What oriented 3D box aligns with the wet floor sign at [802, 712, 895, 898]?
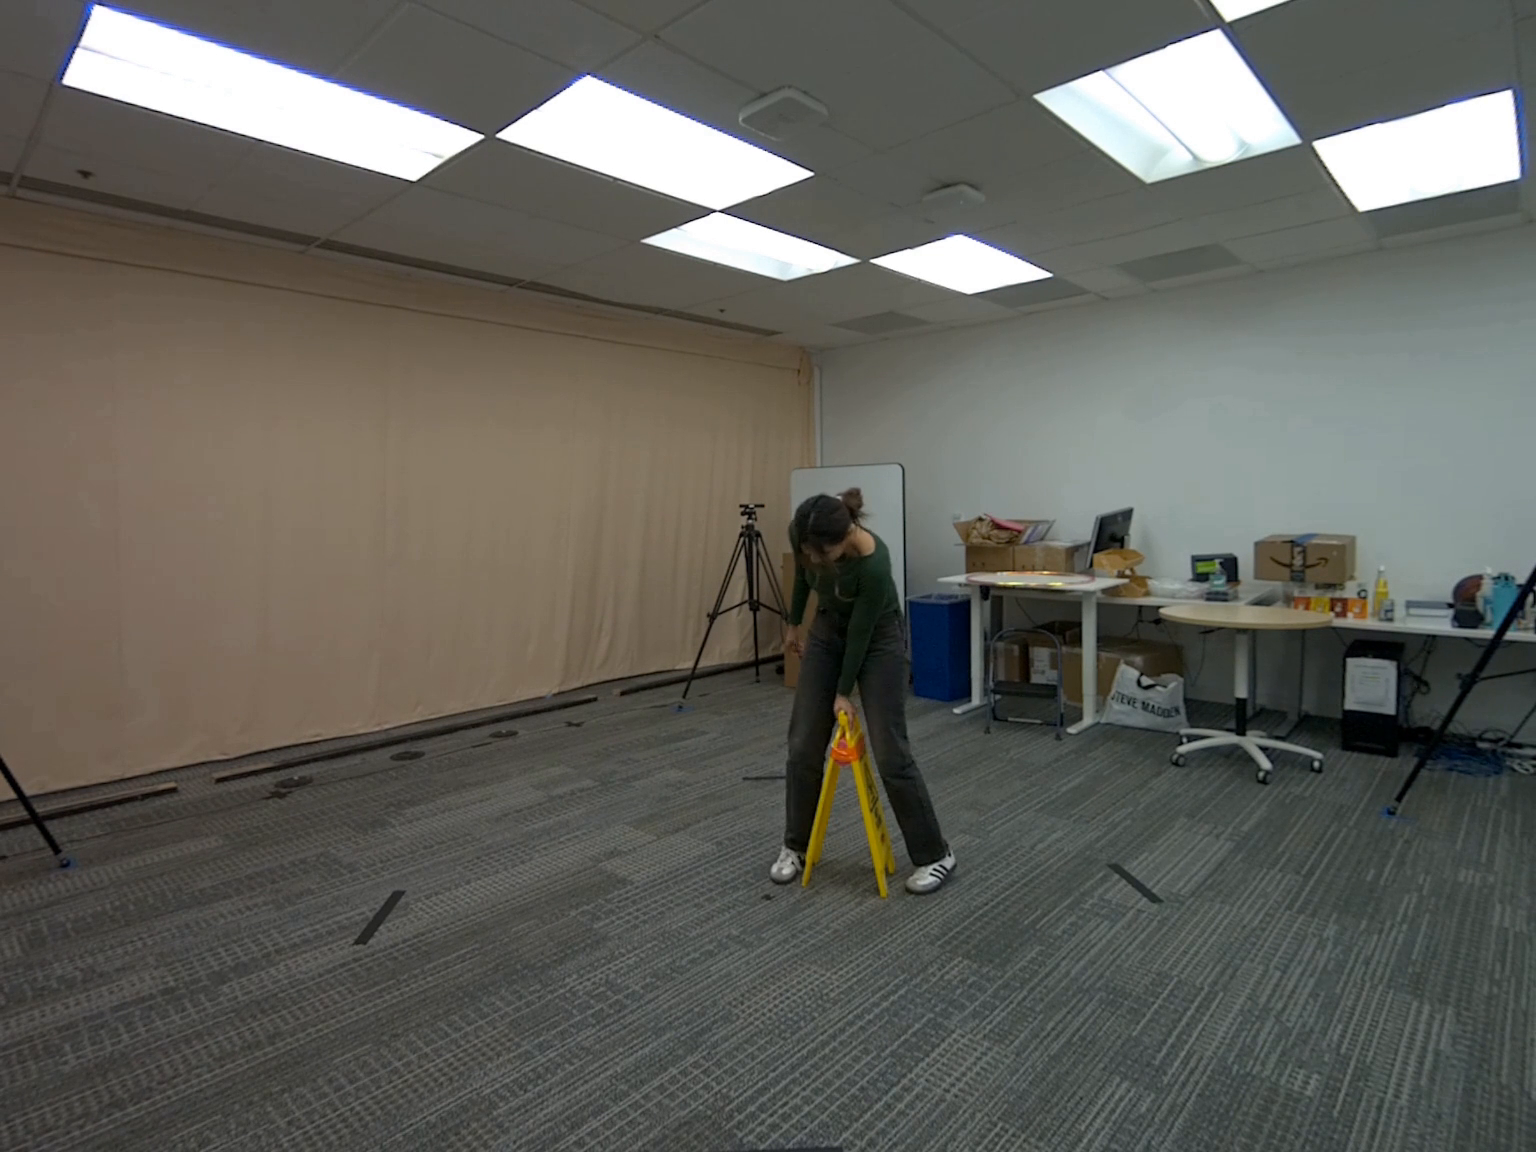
[{"bbox_3d":[0.299,0.796,3.118,0.295,0.645,0.278,-1,3,16],"label":"wet floor sign"}]
